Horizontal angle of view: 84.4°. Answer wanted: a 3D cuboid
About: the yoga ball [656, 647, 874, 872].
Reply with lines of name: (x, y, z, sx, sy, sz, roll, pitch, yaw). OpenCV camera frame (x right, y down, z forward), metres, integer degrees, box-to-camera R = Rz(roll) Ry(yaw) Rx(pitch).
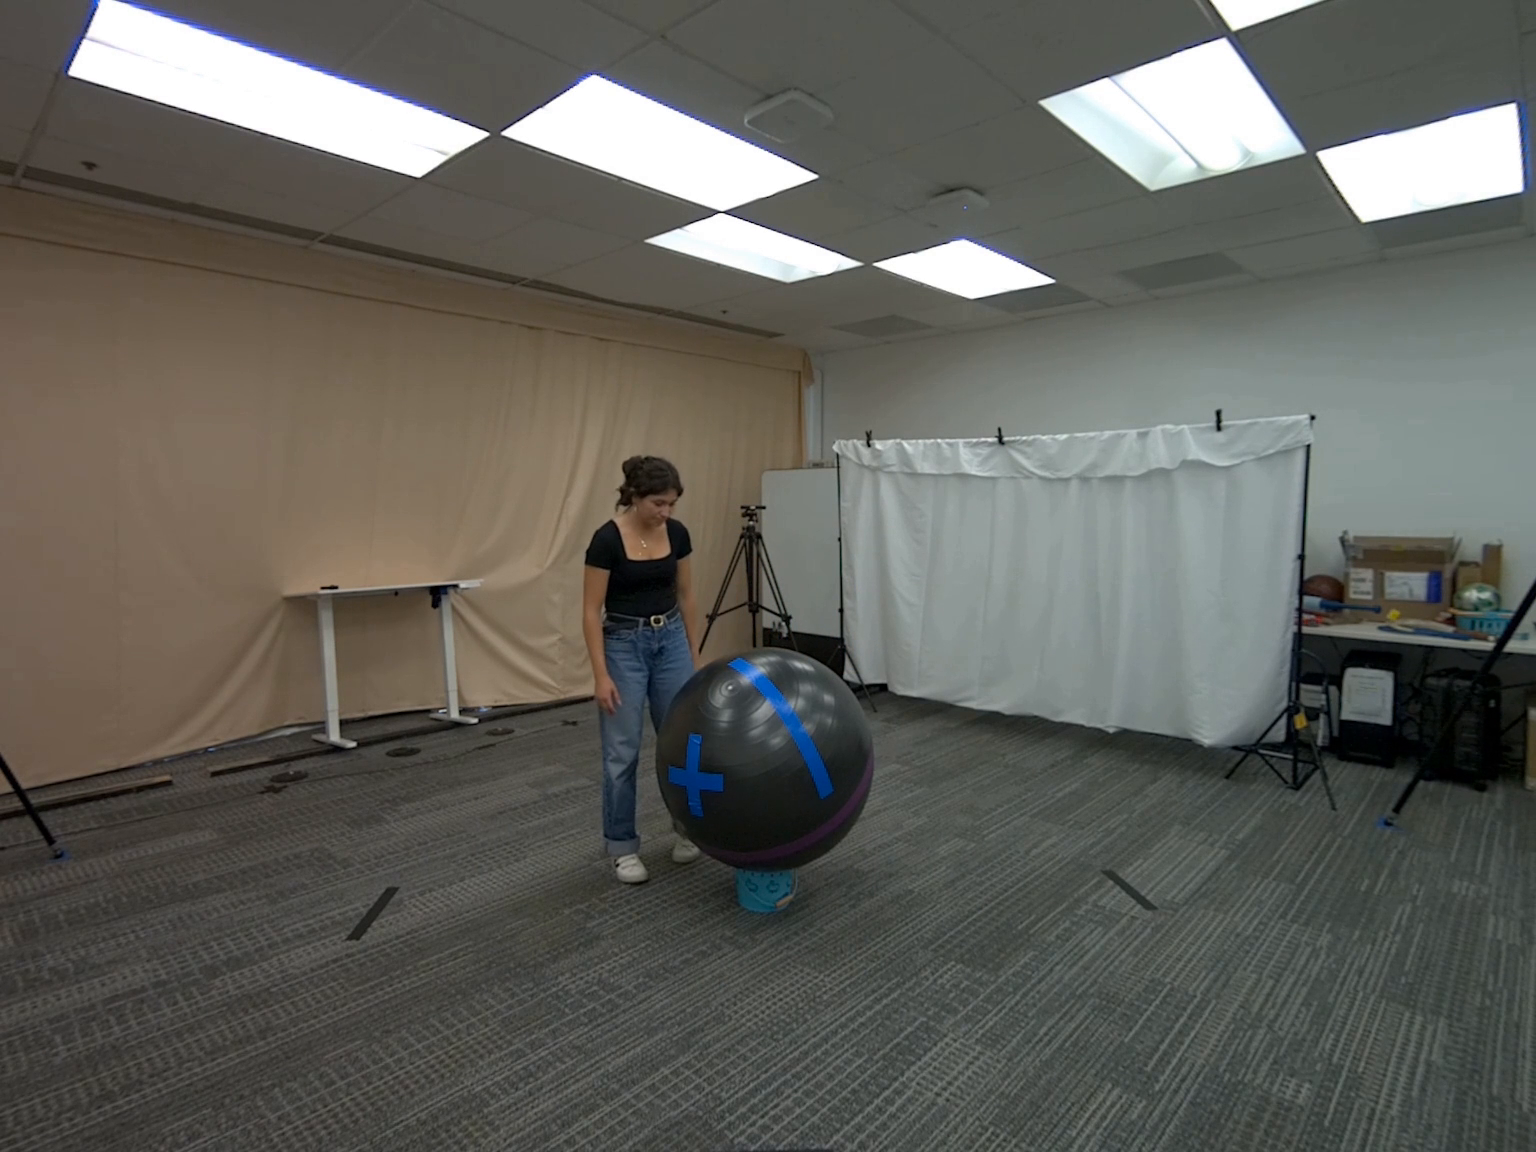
yoga ball: (-0.009, 0.635, 2.947, 0.757, 0.756, 0.760, 0, 4, -2)
